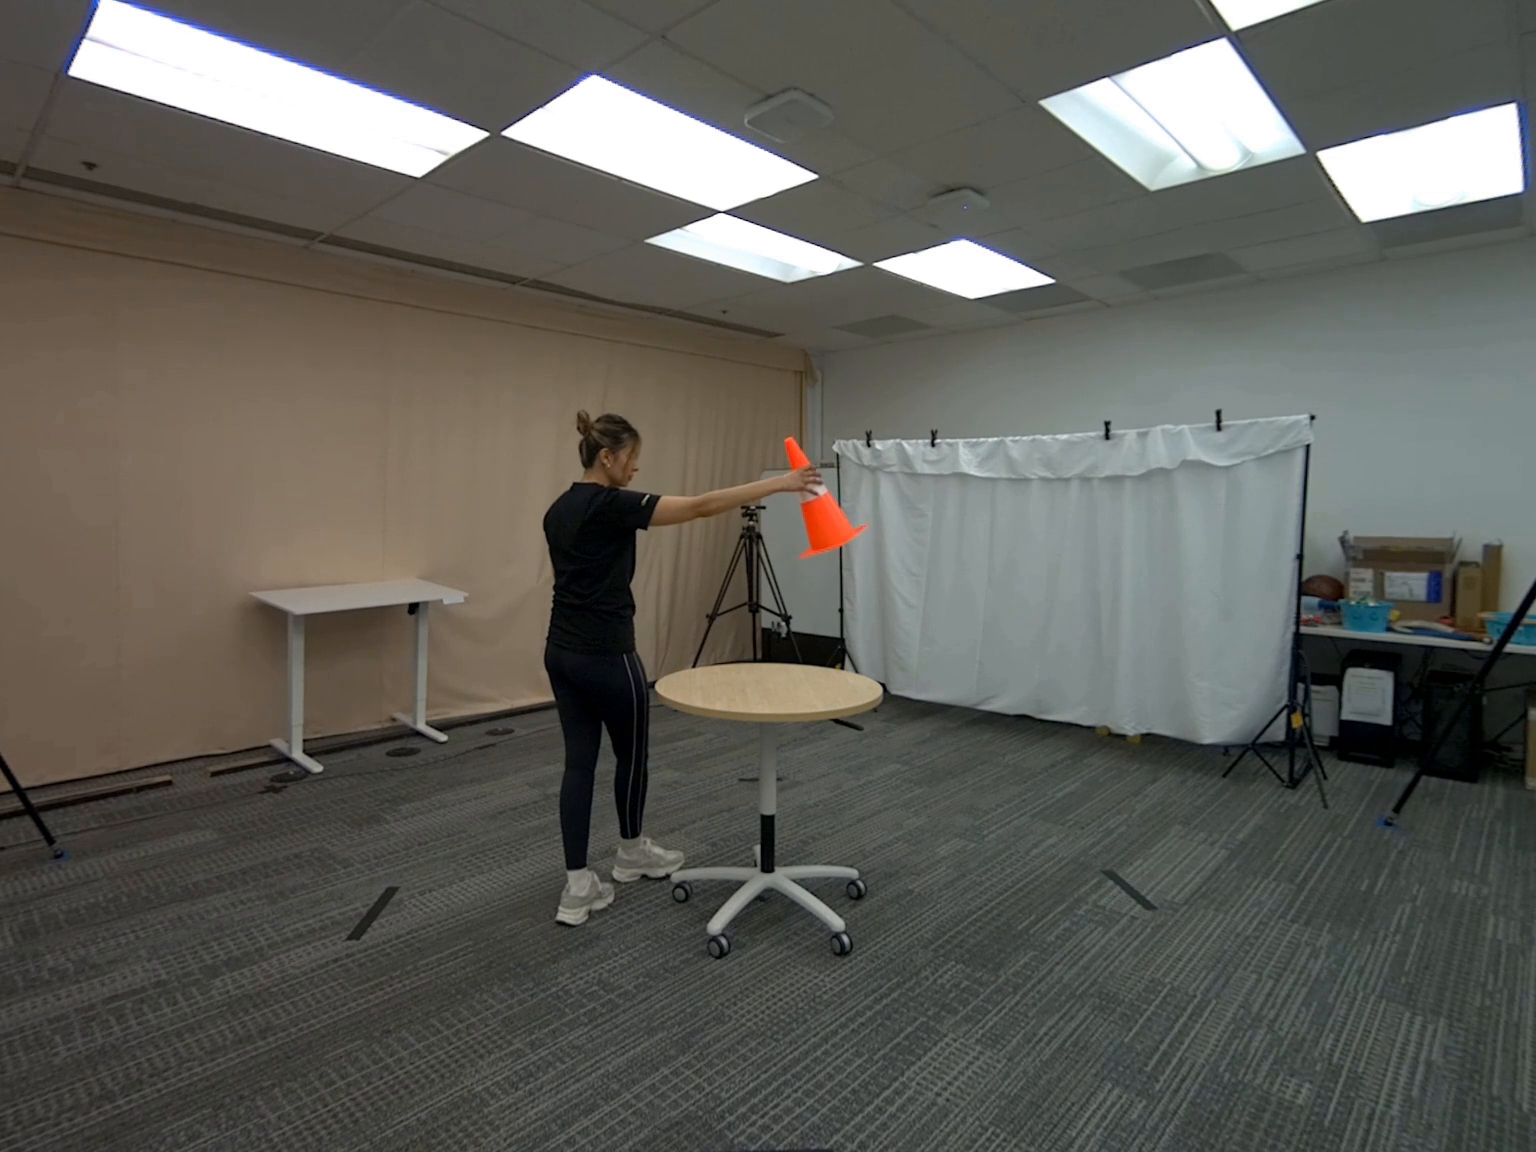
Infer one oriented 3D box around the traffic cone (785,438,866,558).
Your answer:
[{"bbox_3d":[0.146,-0.280,2.817,0.201,0.381,0.208,-32,10,-40],"label":"traffic cone"}]
